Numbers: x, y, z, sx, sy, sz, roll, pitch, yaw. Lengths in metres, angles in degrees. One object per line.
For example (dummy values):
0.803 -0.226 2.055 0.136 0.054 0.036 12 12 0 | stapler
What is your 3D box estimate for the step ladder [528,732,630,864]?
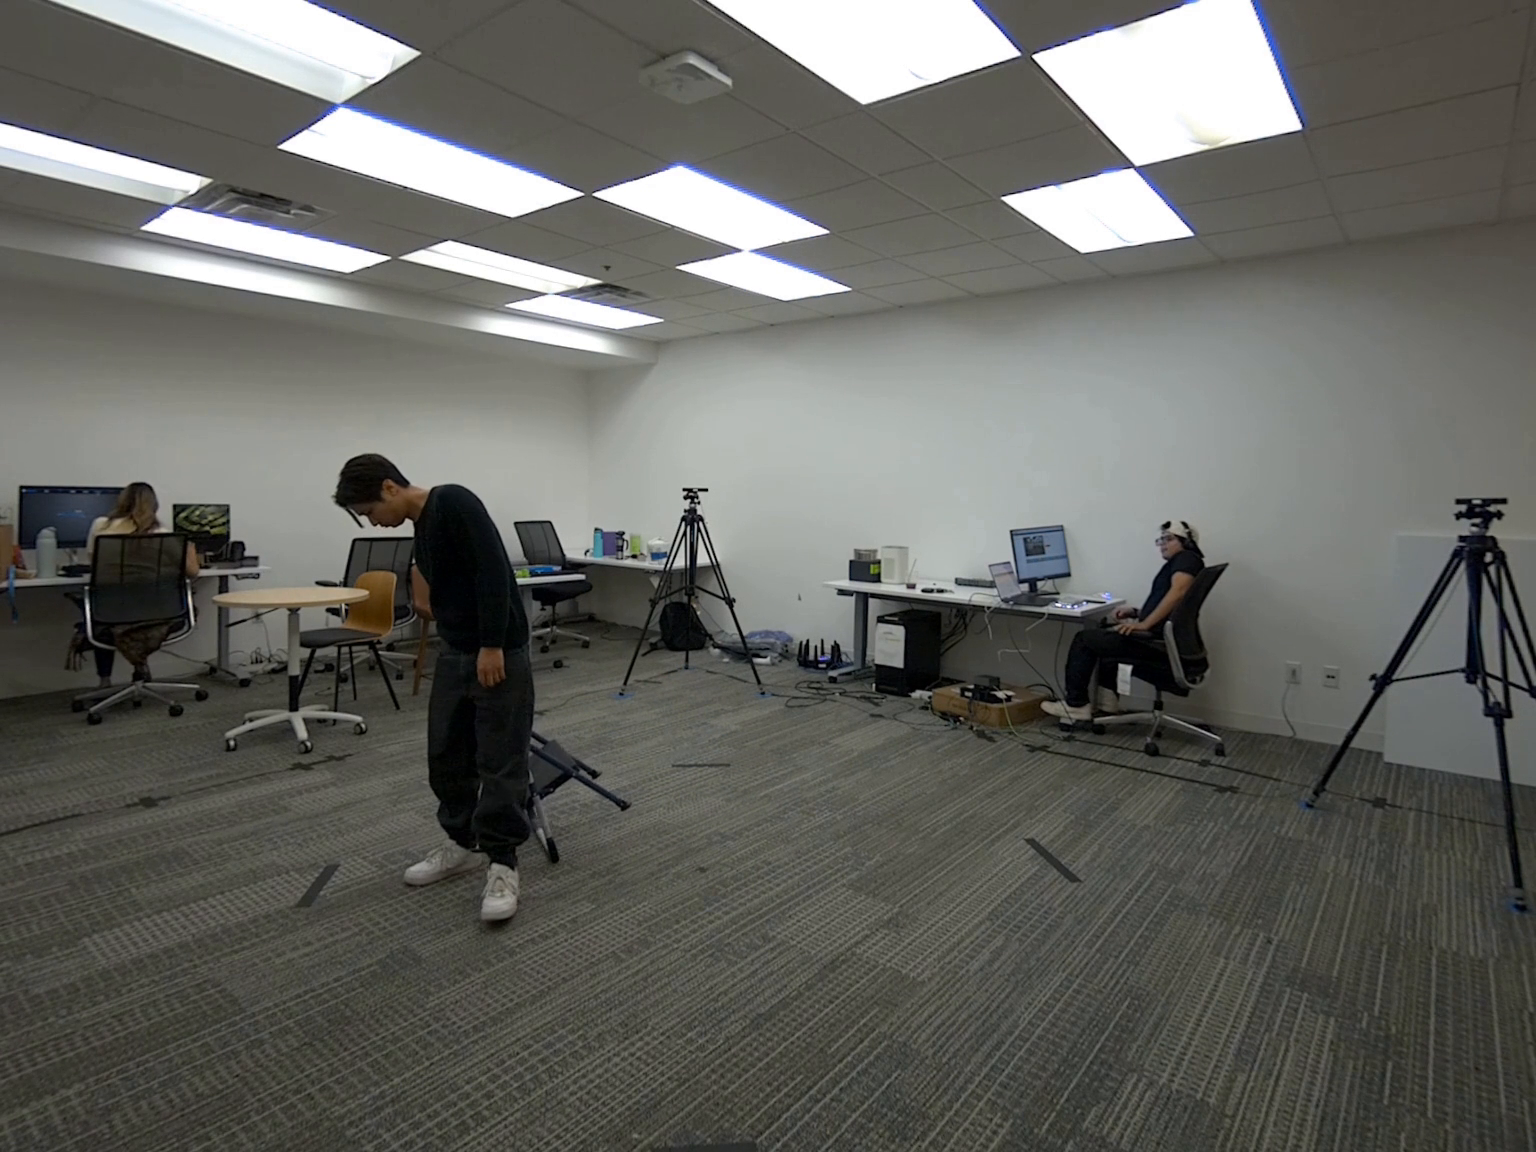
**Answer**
-0.899 0.704 3.299 0.347 0.594 0.442 -36 16 -20 | step ladder
